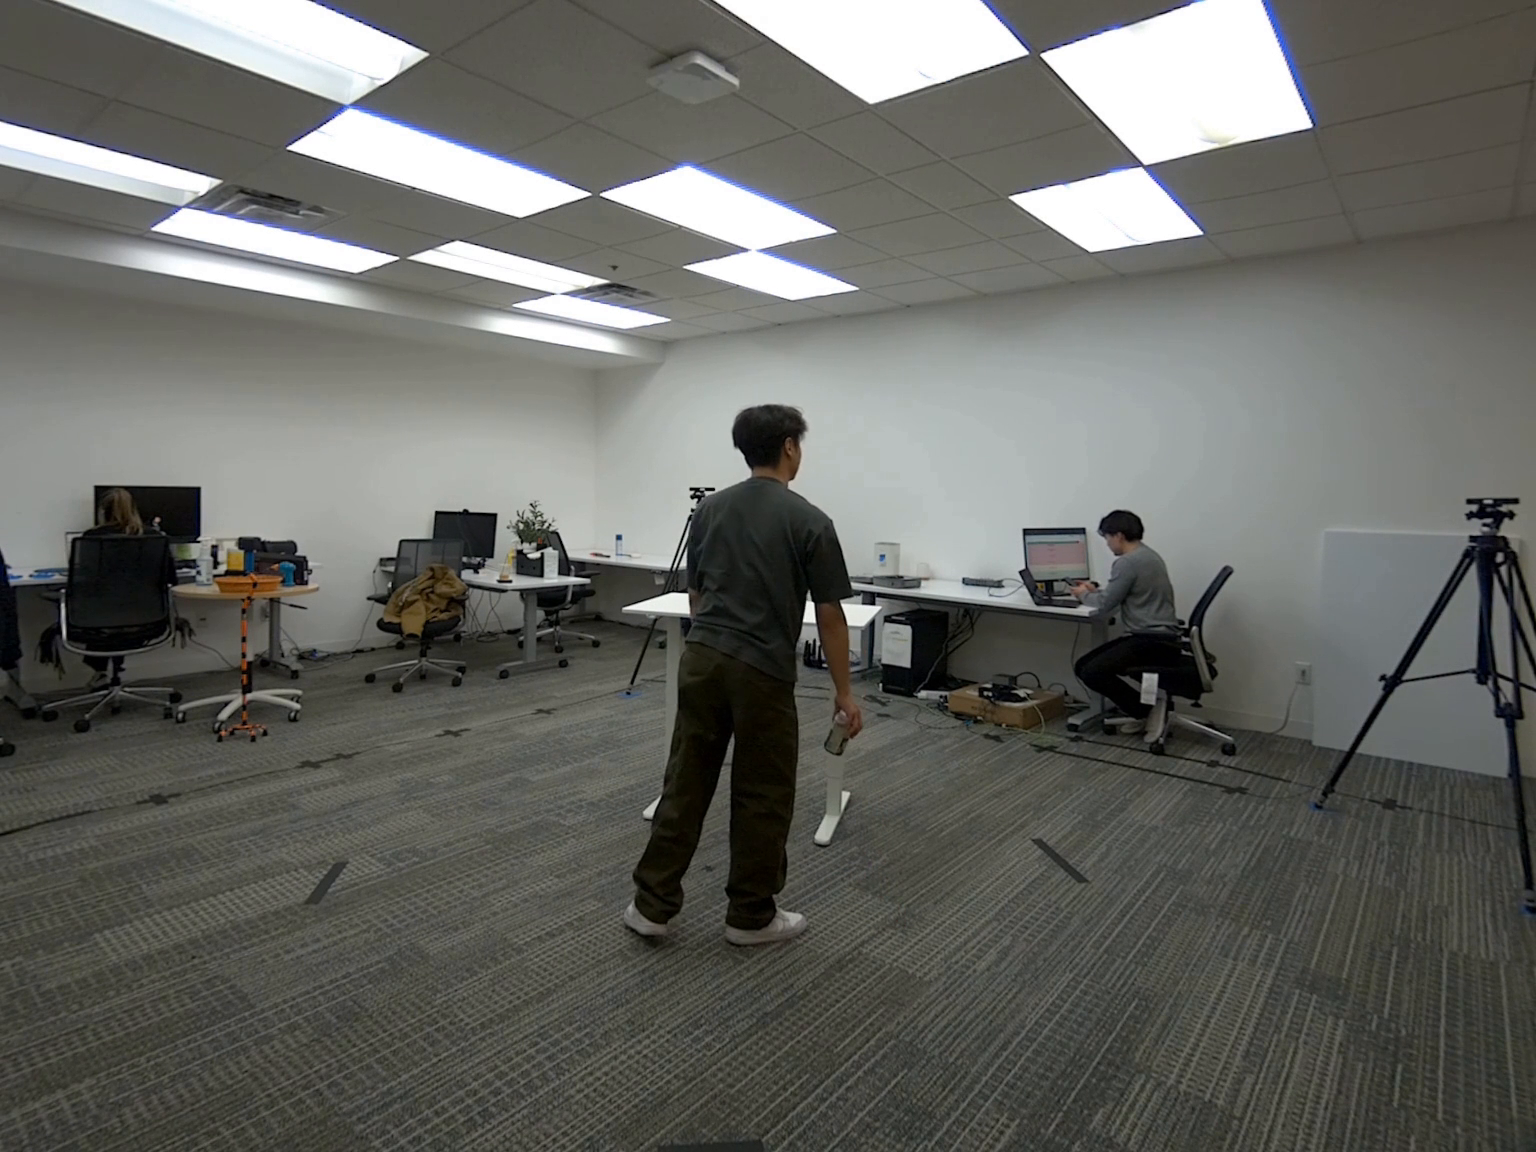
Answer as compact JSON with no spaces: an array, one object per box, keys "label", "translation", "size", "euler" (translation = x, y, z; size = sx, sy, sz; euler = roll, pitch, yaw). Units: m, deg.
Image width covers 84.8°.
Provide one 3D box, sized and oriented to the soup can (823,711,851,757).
[{"label":"soup can","translation":[0.211,0.498,2.663],"size":[0.067,0.121,0.068],"euler":[19,11,-6]}]
